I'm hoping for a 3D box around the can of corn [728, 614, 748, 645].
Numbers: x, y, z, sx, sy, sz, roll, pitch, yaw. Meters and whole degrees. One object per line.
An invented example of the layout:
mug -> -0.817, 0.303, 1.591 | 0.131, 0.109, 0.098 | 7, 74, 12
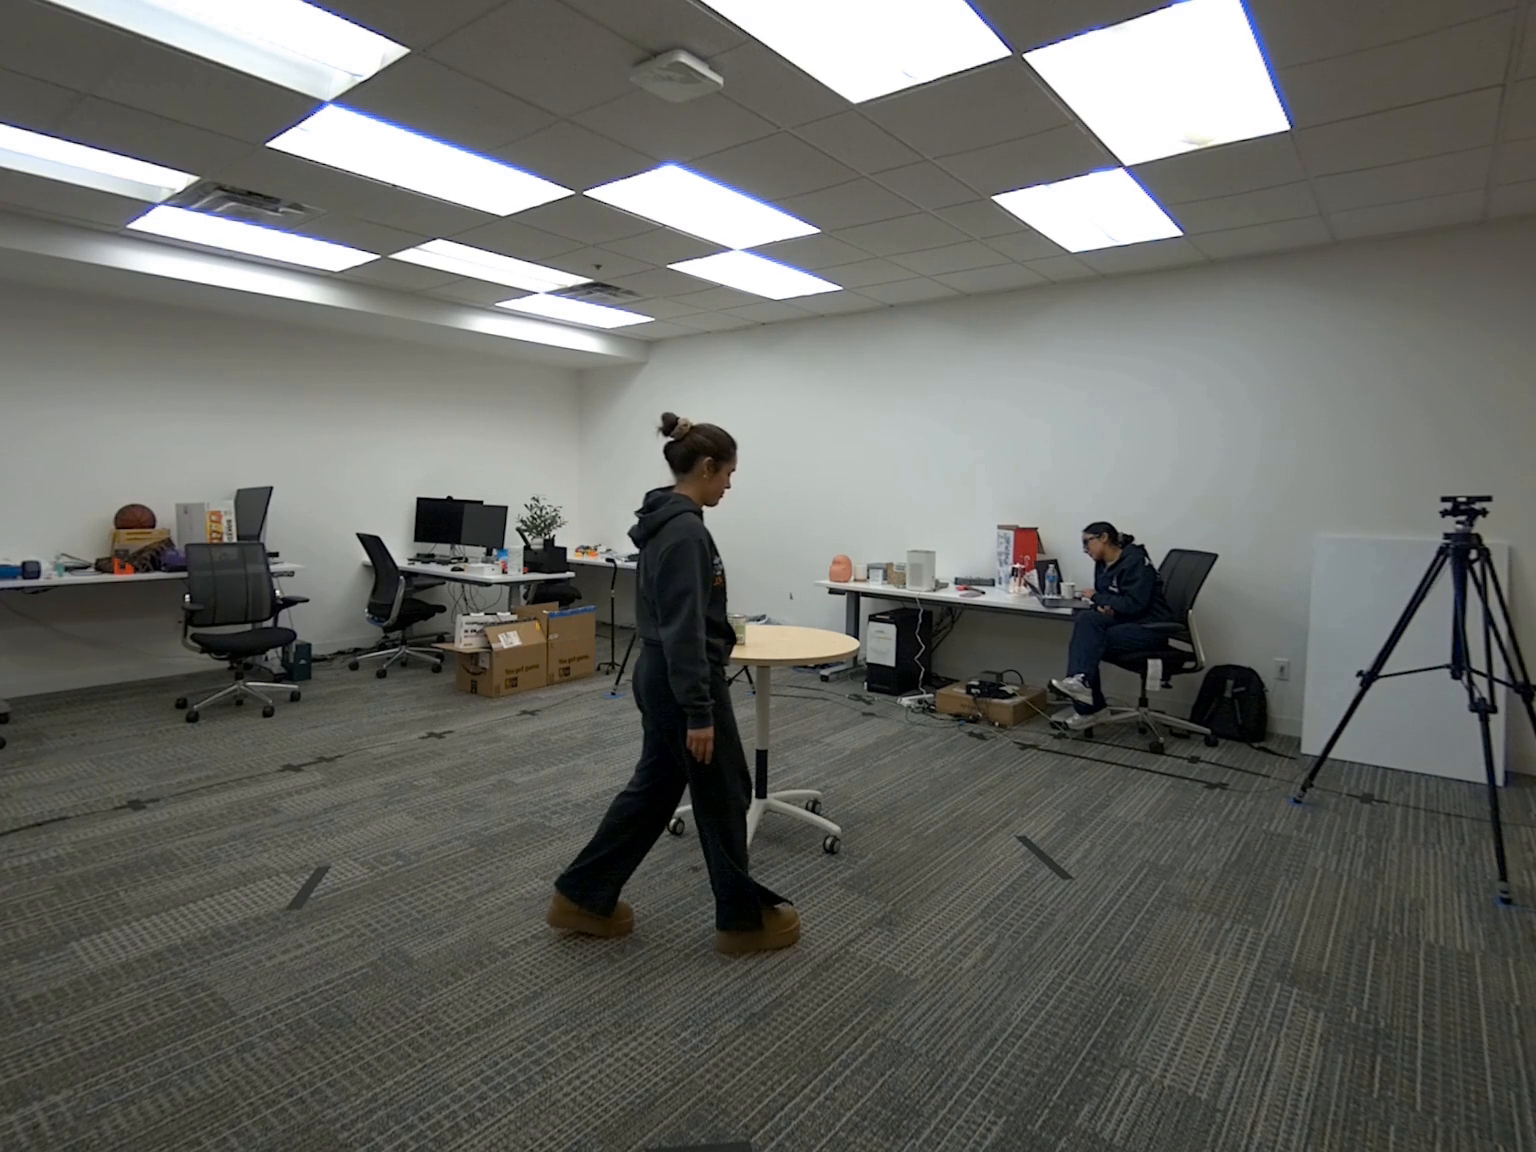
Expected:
can of corn -> -0.125, 0.208, 3.335 | 0.074, 0.110, 0.075 | 2, 6, -2
